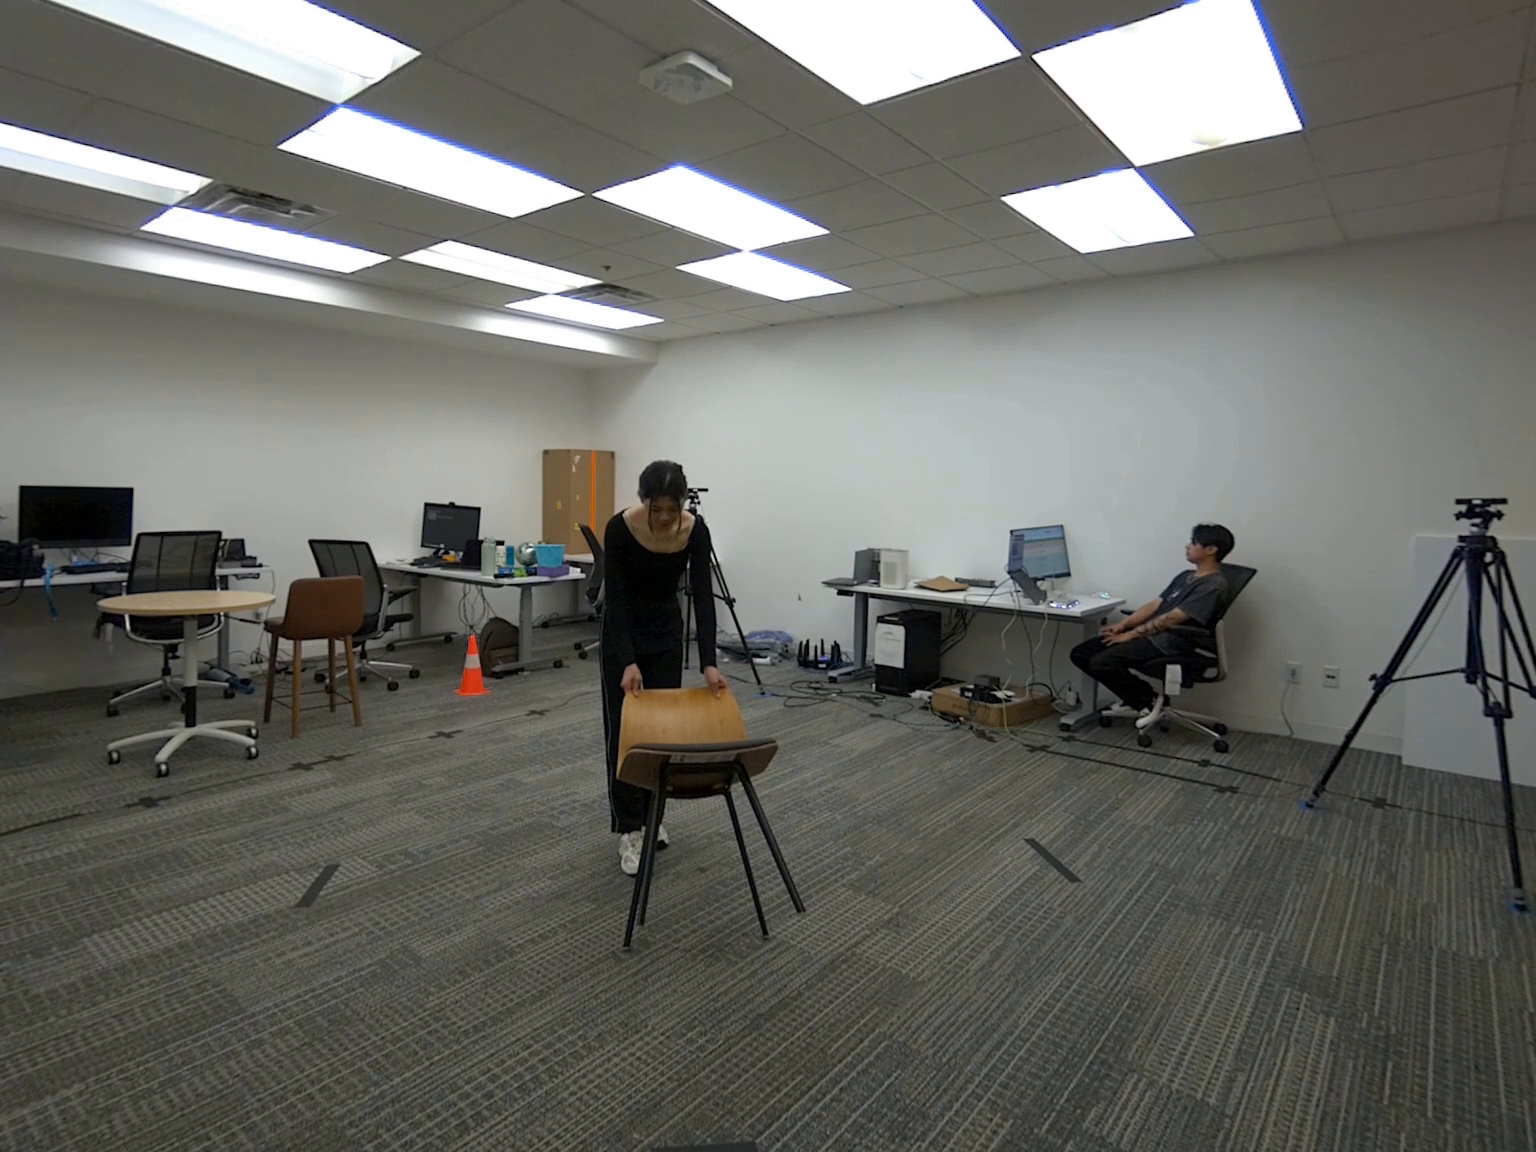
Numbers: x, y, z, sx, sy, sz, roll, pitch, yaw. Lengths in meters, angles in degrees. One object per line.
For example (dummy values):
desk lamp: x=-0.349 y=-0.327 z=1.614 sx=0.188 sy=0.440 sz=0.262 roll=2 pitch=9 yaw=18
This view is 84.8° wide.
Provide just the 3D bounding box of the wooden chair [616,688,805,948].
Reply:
wooden chair: x=-0.225 y=0.625 z=2.633 sx=0.472 sy=0.905 sz=0.514 roll=0 pitch=-36 yaw=-13
